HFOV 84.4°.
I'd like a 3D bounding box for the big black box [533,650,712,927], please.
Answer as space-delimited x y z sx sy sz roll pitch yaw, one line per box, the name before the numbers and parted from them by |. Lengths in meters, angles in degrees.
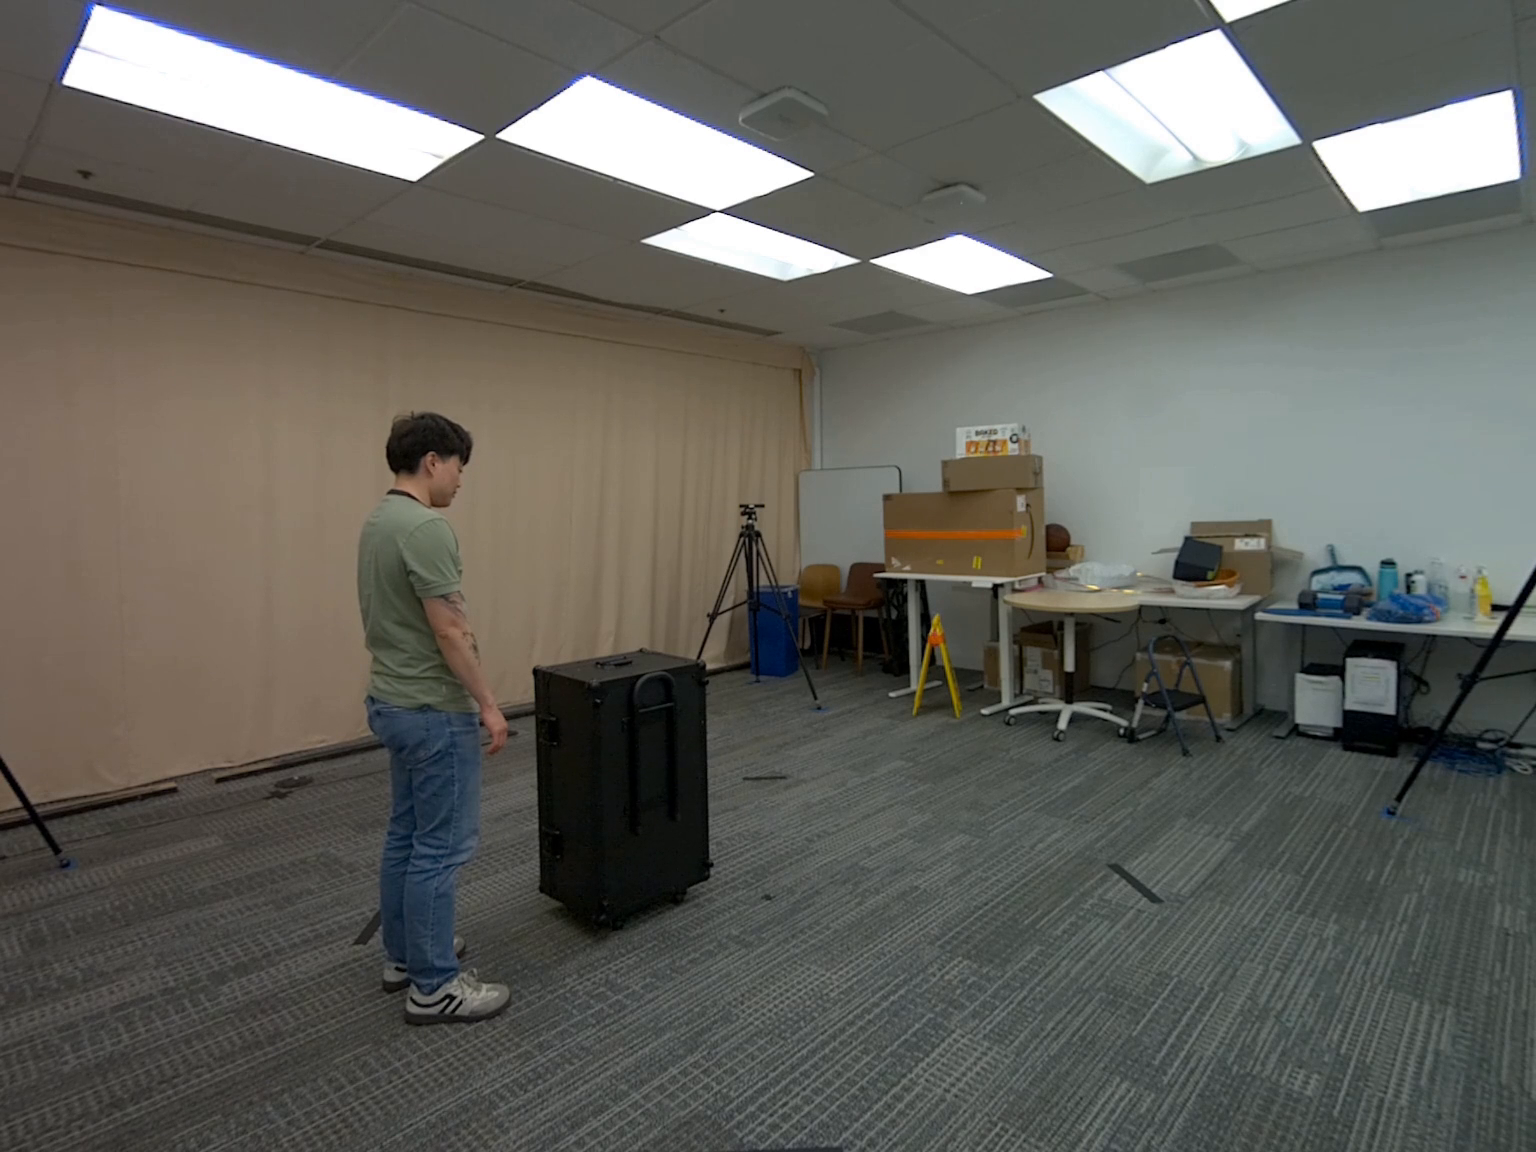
big black box | -0.490 0.729 2.925 0.505 0.859 0.409 -5 6 -45
